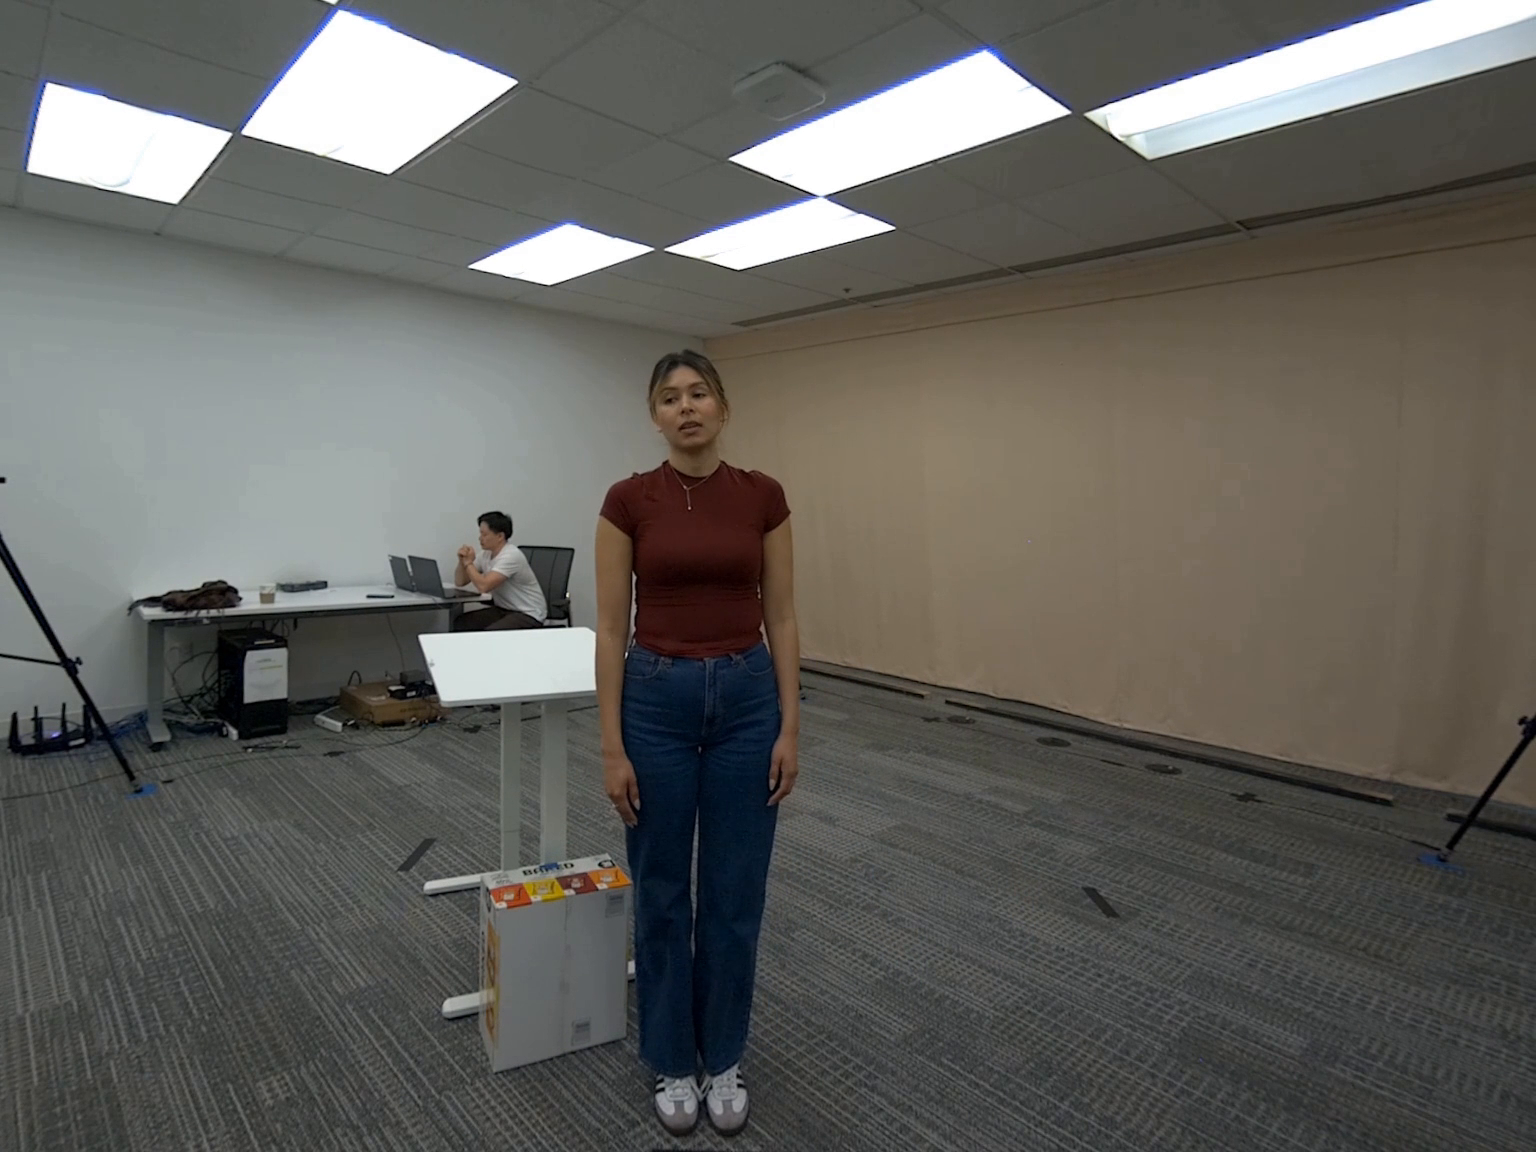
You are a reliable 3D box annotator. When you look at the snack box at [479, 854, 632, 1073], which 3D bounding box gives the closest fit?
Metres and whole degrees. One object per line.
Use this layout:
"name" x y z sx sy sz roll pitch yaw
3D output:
"snack box" -0.551 0.971 2.157 0.334 0.404 0.210 0 3 -27
